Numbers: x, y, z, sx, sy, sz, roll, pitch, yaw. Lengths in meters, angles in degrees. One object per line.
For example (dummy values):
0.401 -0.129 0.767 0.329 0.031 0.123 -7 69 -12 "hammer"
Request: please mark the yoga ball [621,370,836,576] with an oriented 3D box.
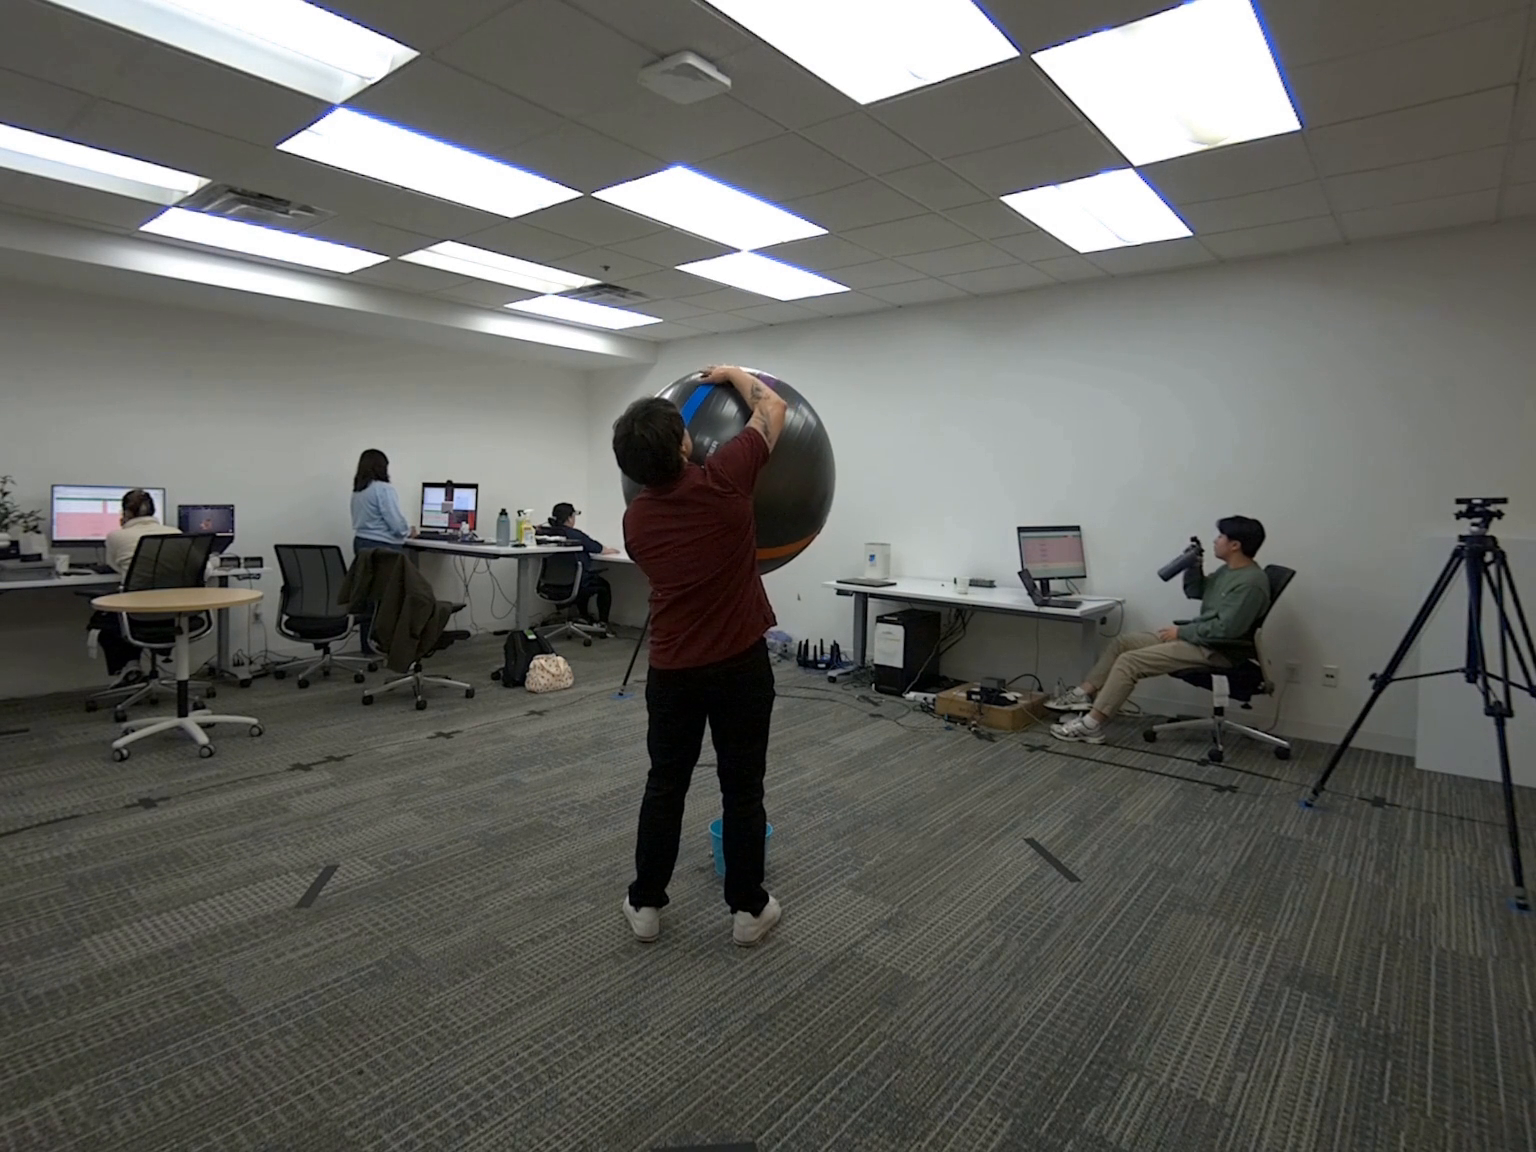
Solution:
-0.150 -0.364 3.036 0.757 0.756 0.762 1 4 -2 "yoga ball"
